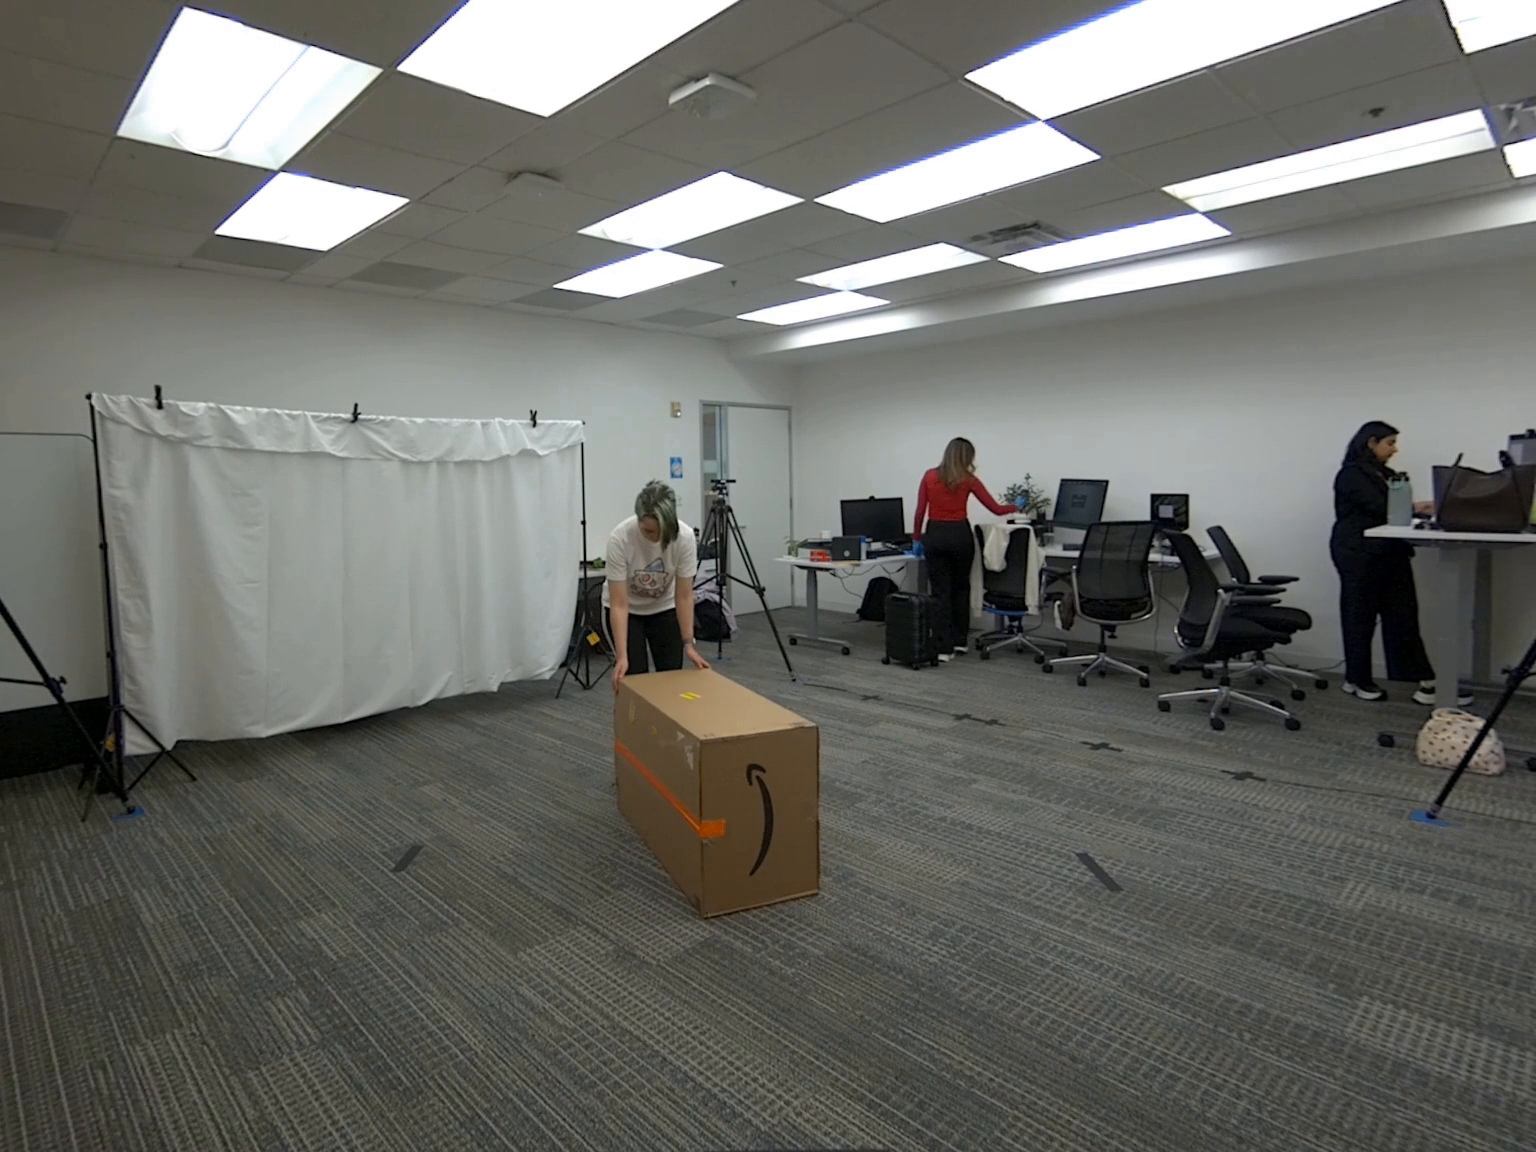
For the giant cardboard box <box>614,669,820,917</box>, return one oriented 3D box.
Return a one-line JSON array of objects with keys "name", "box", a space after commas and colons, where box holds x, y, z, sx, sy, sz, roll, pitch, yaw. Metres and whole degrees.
[{"name": "giant cardboard box", "box": [-0.239, 0.747, 3.250, 0.438, 0.581, 1.052, -4, 6, -24]}]
